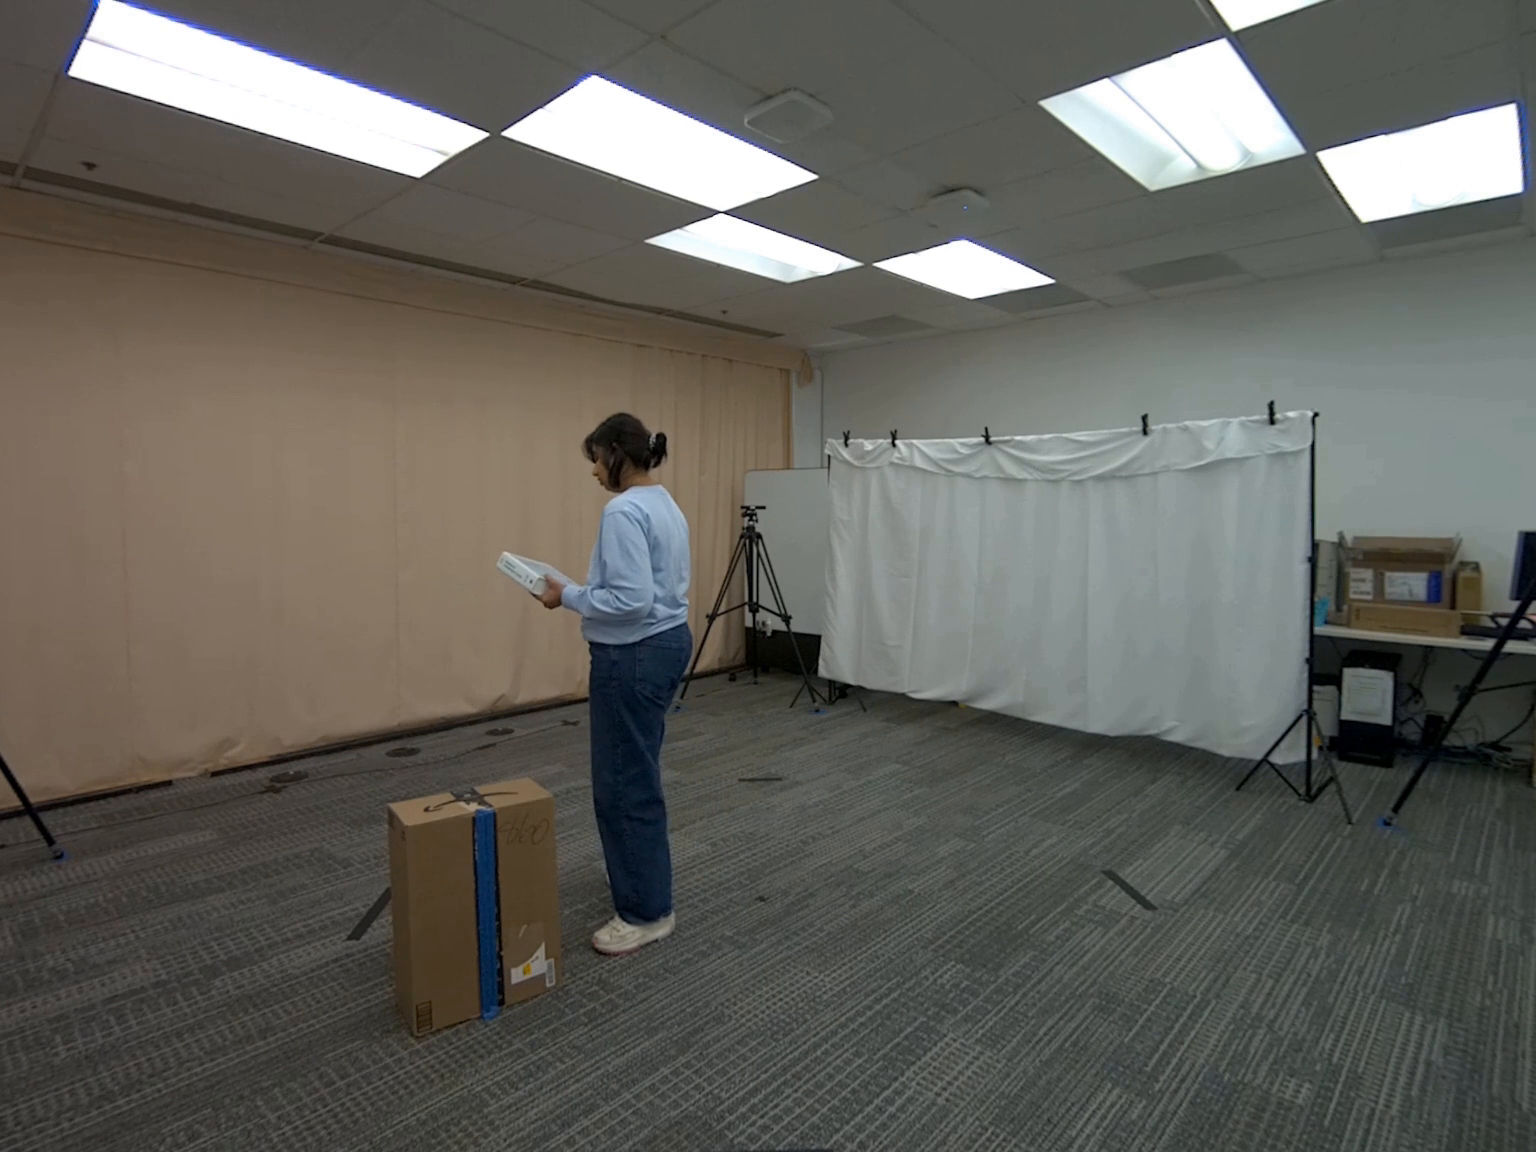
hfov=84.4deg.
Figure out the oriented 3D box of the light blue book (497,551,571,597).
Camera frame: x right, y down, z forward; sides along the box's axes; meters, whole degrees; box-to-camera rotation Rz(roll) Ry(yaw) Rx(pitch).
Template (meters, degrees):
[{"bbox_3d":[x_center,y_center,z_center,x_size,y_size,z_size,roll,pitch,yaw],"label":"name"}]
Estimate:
[{"bbox_3d":[-0.757,0.013,2.759,0.271,0.059,0.184,25,1,44],"label":"light blue book"}]
